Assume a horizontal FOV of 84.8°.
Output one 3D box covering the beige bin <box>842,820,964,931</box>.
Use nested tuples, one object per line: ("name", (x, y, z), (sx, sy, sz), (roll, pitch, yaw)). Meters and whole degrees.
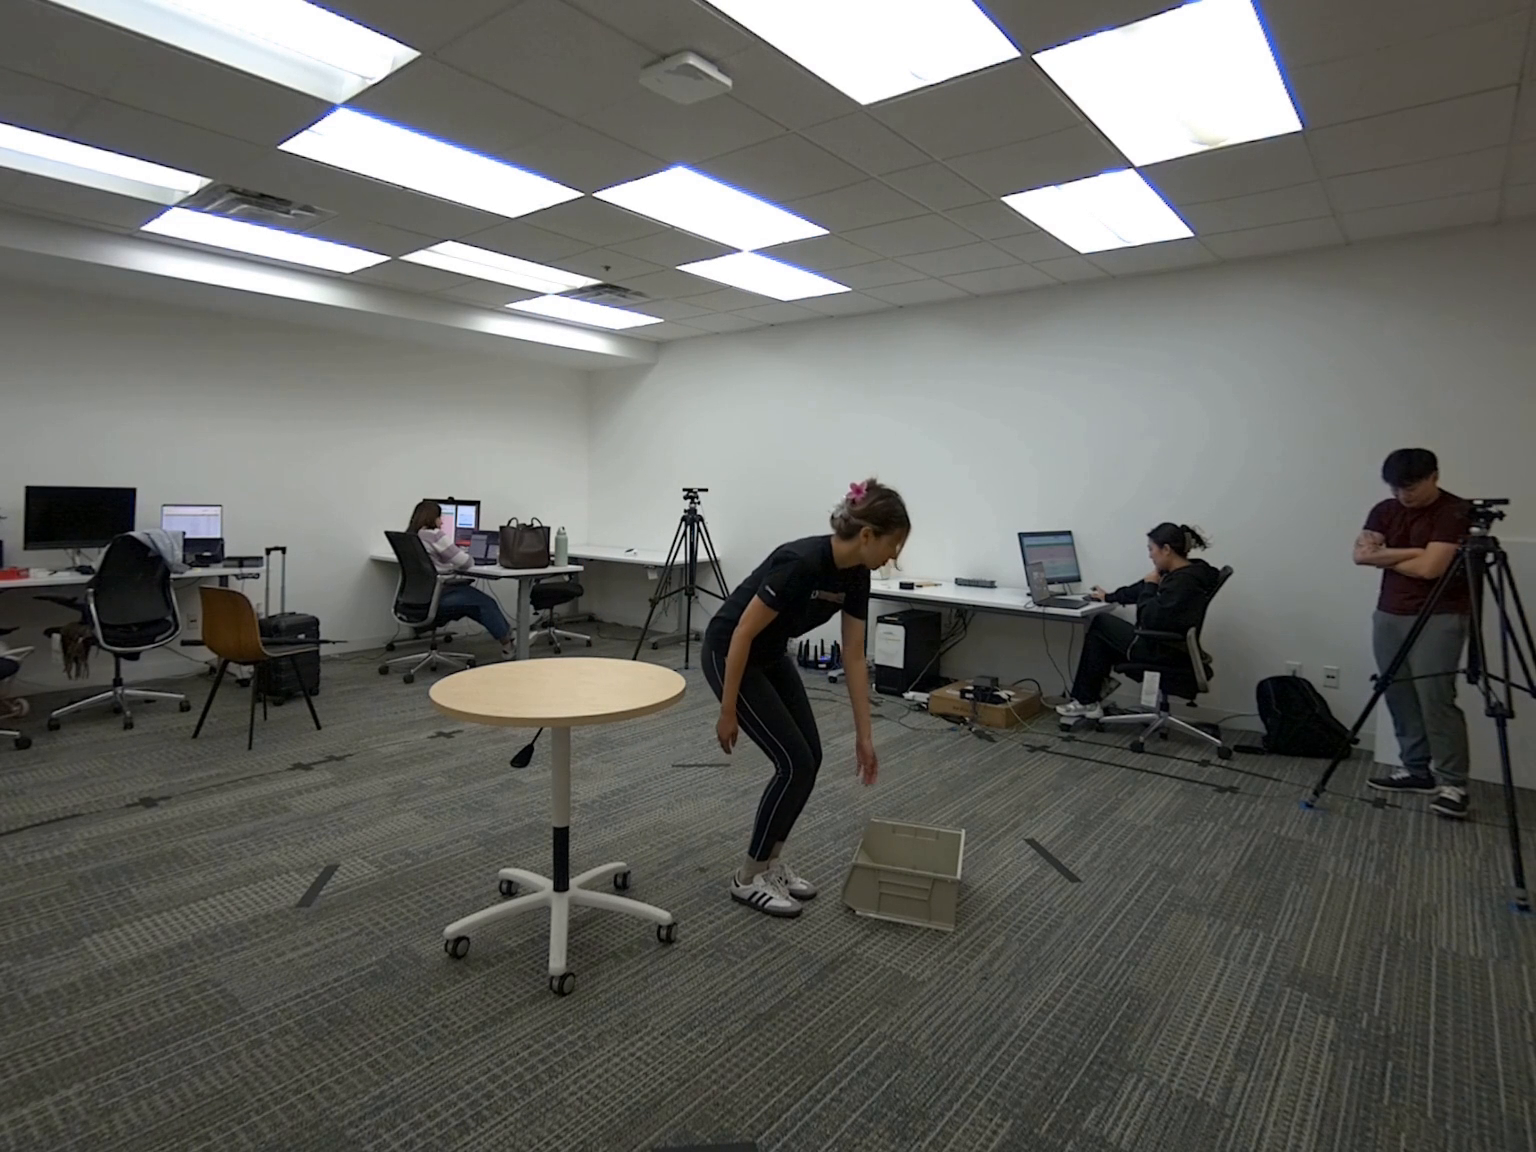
("beige bin", (0.463, 1.008, 2.945), (0.385, 0.188, 0.415), (3, 5, 17))
